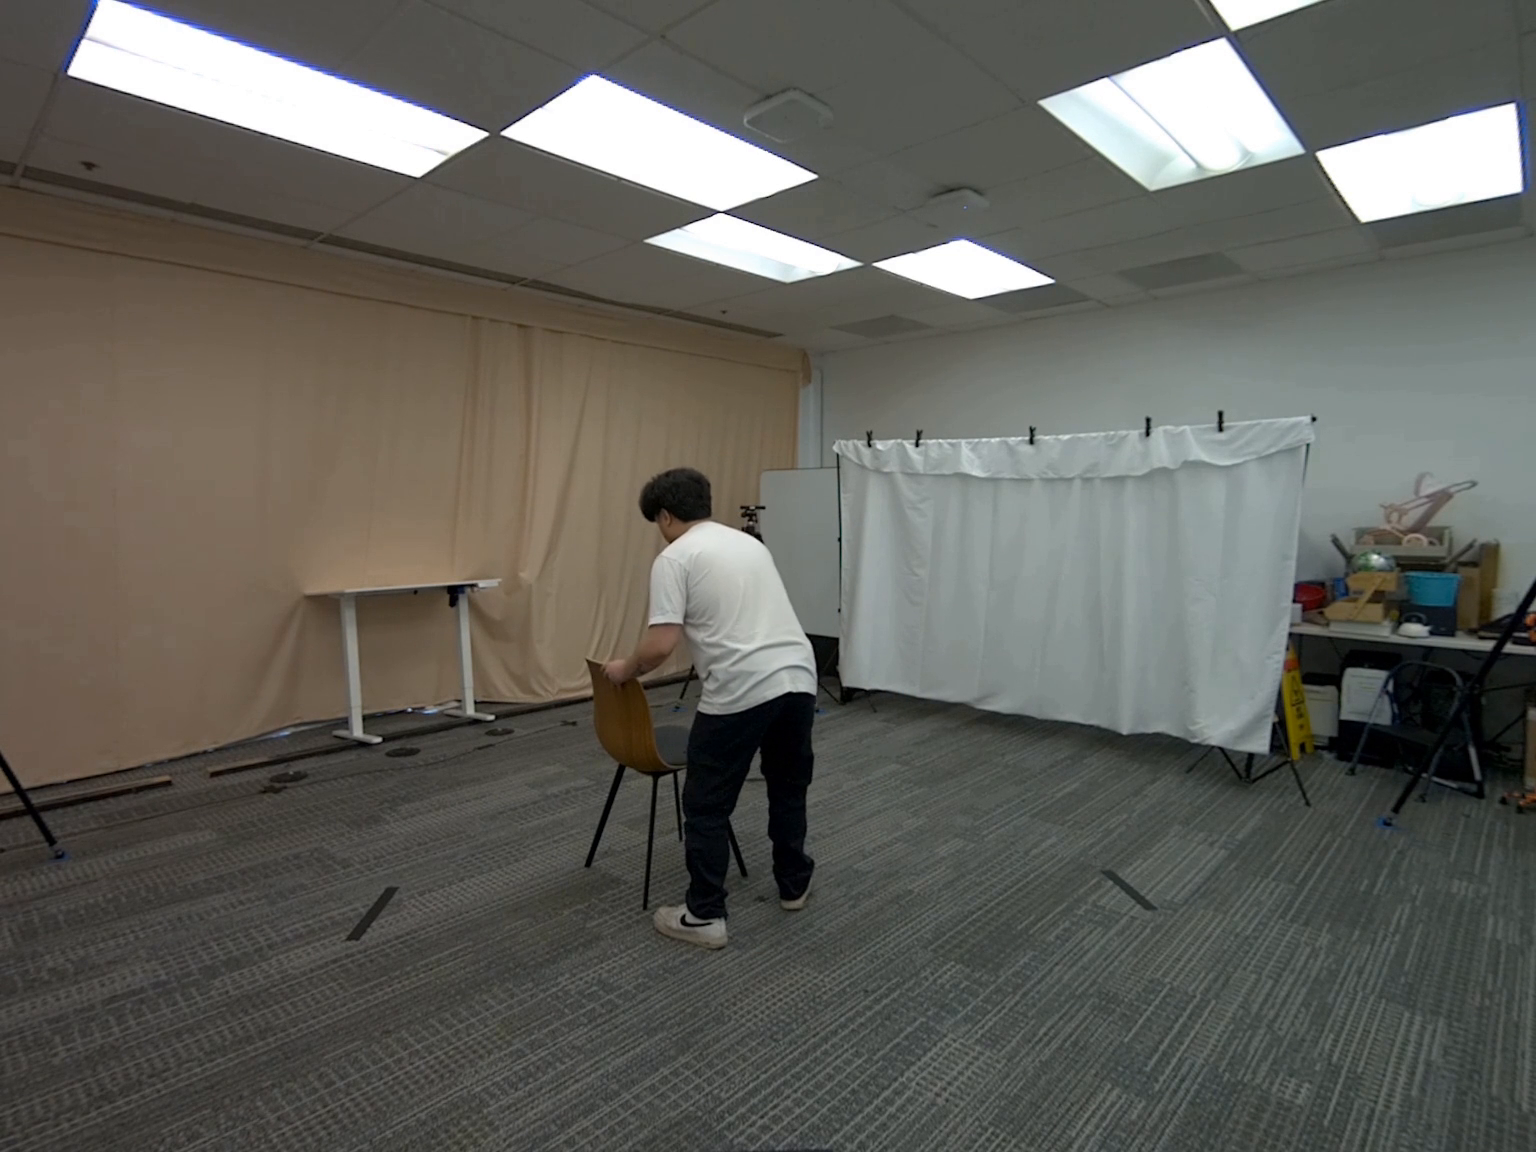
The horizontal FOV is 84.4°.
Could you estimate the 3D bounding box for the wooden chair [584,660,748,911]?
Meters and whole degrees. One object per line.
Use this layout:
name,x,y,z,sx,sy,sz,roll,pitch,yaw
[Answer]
wooden chair,-0.390,0.704,3.192,0.508,0.874,0.493,-8,7,-37
